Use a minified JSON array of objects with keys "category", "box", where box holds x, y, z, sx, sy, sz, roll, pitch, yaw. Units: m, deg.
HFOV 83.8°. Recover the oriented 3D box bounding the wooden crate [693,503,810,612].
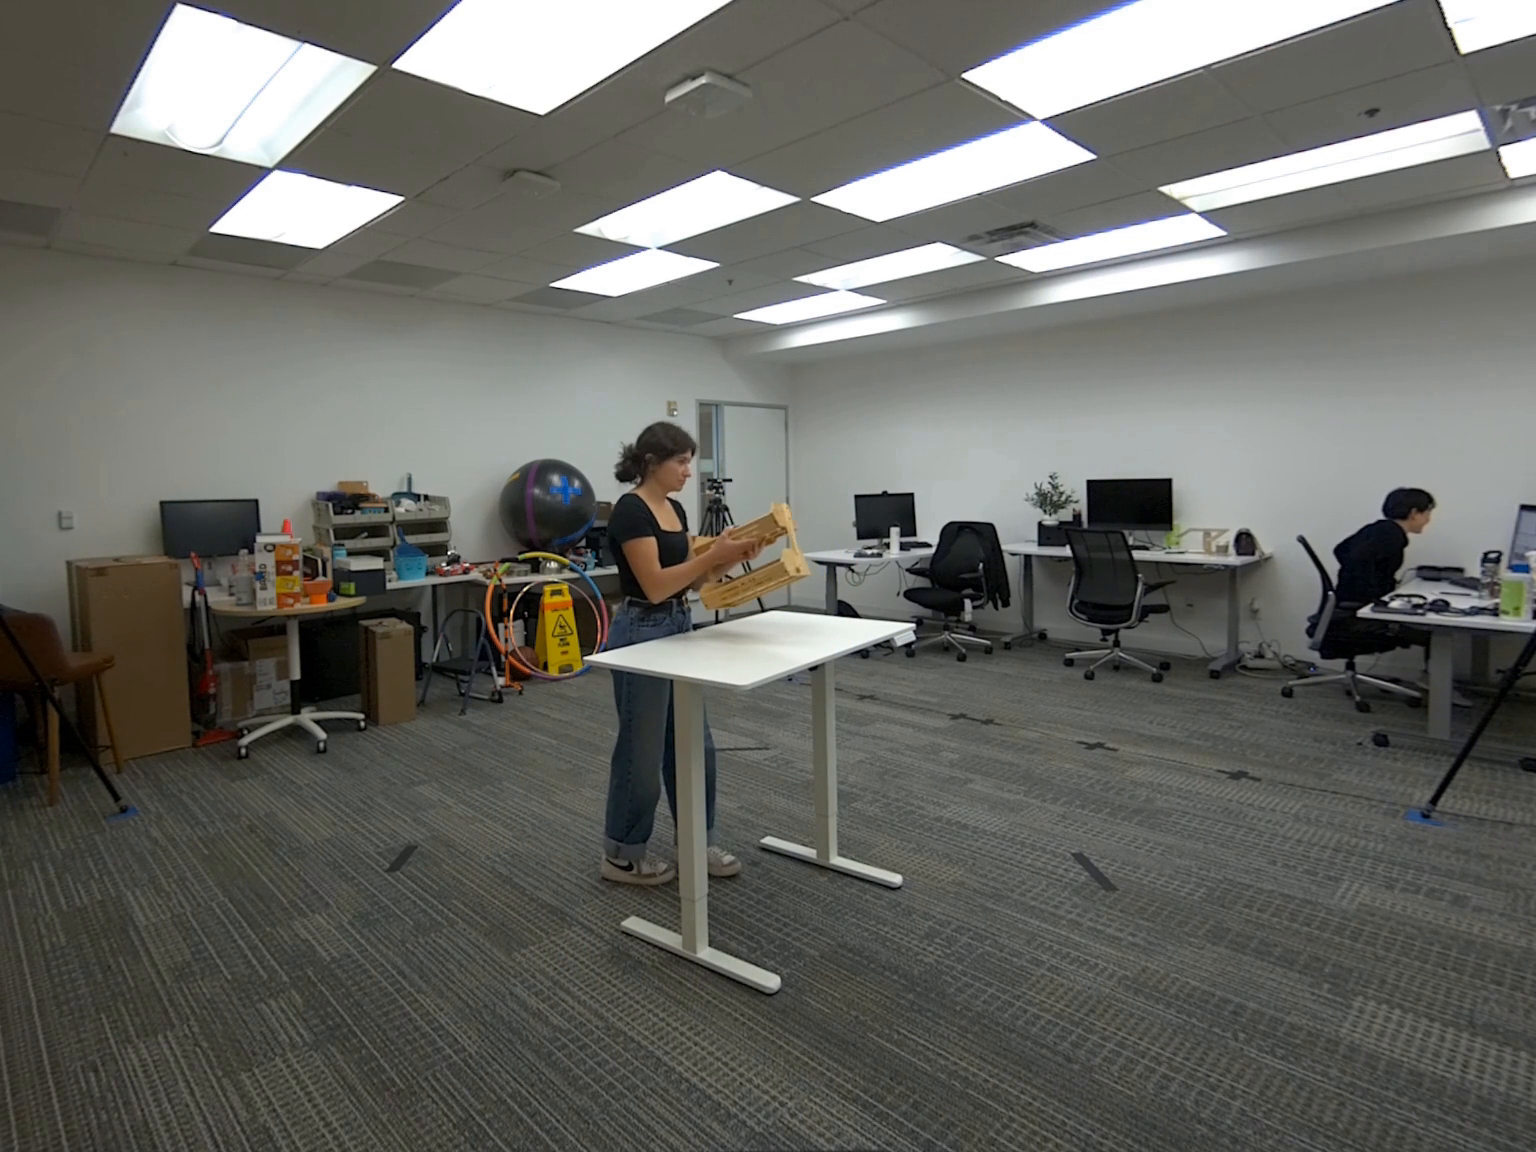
[{"category":"wooden crate","box":[-0.067,-0.068,2.811,0.327,0.277,0.295,-24,-10,19]}]
